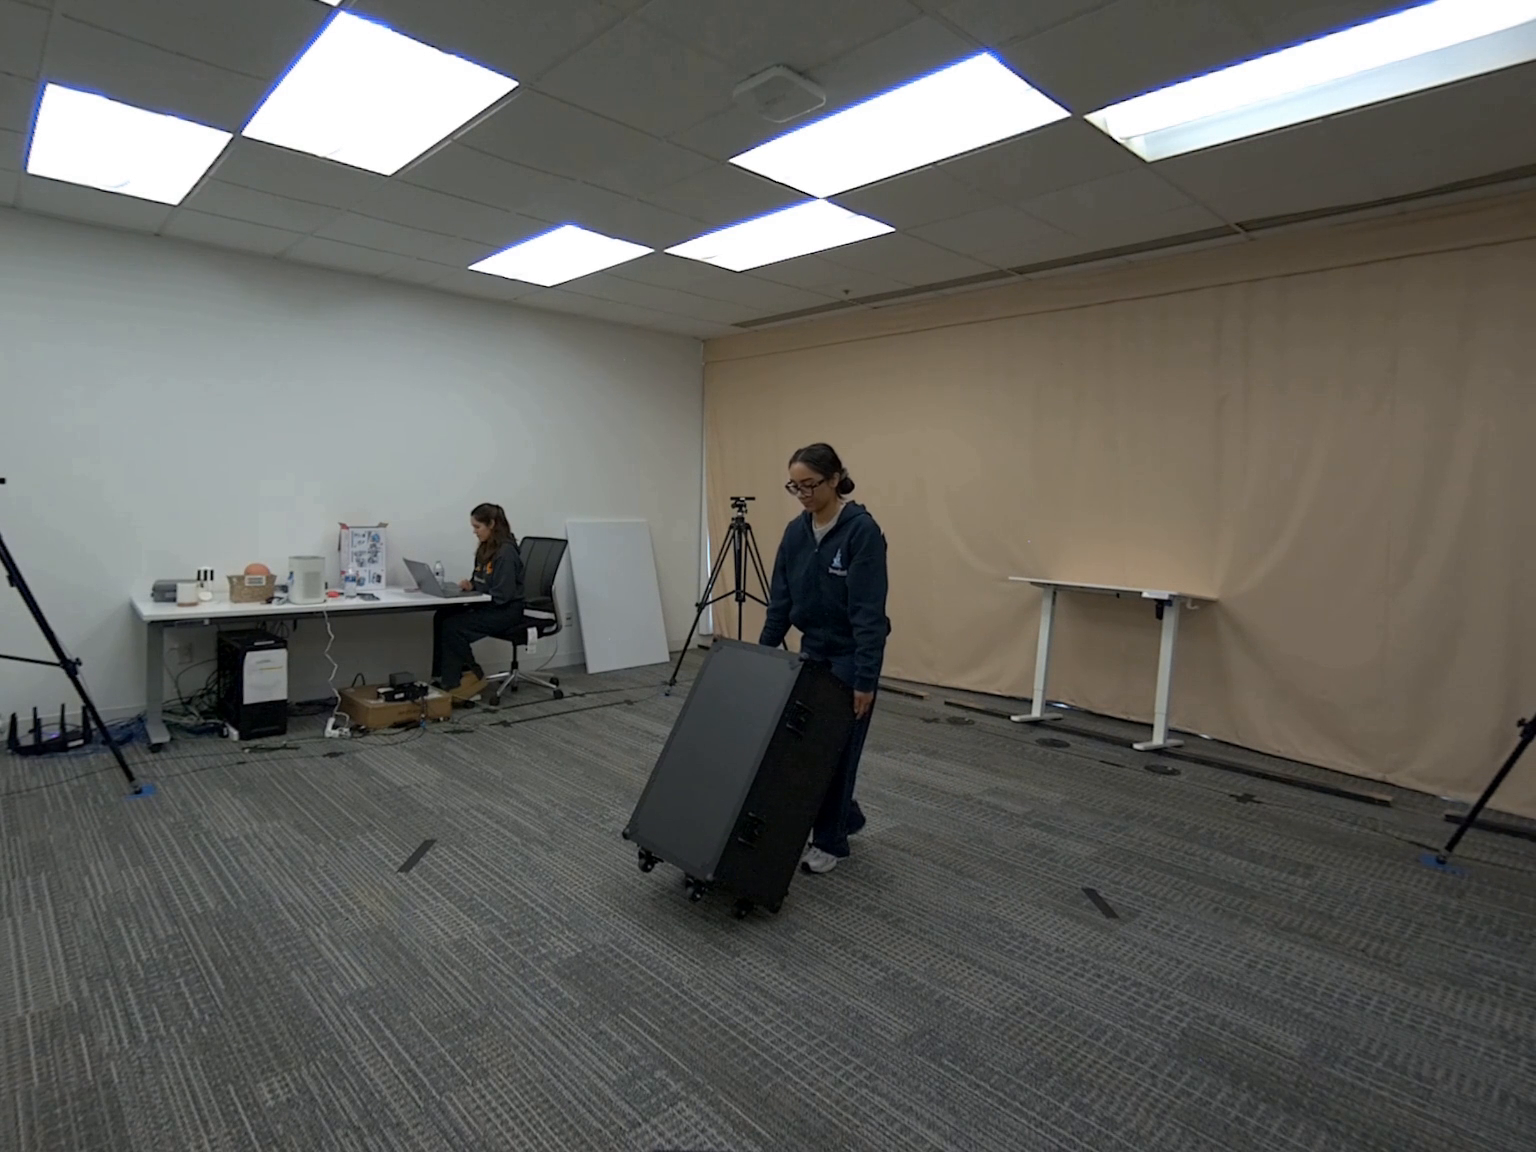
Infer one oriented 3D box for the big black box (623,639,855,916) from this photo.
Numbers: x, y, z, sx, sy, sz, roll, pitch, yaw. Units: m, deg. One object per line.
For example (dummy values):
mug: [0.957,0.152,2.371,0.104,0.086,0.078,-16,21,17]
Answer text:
big black box: [-0.097,0.702,2.955,0.534,0.866,0.384,5,-26,47]
